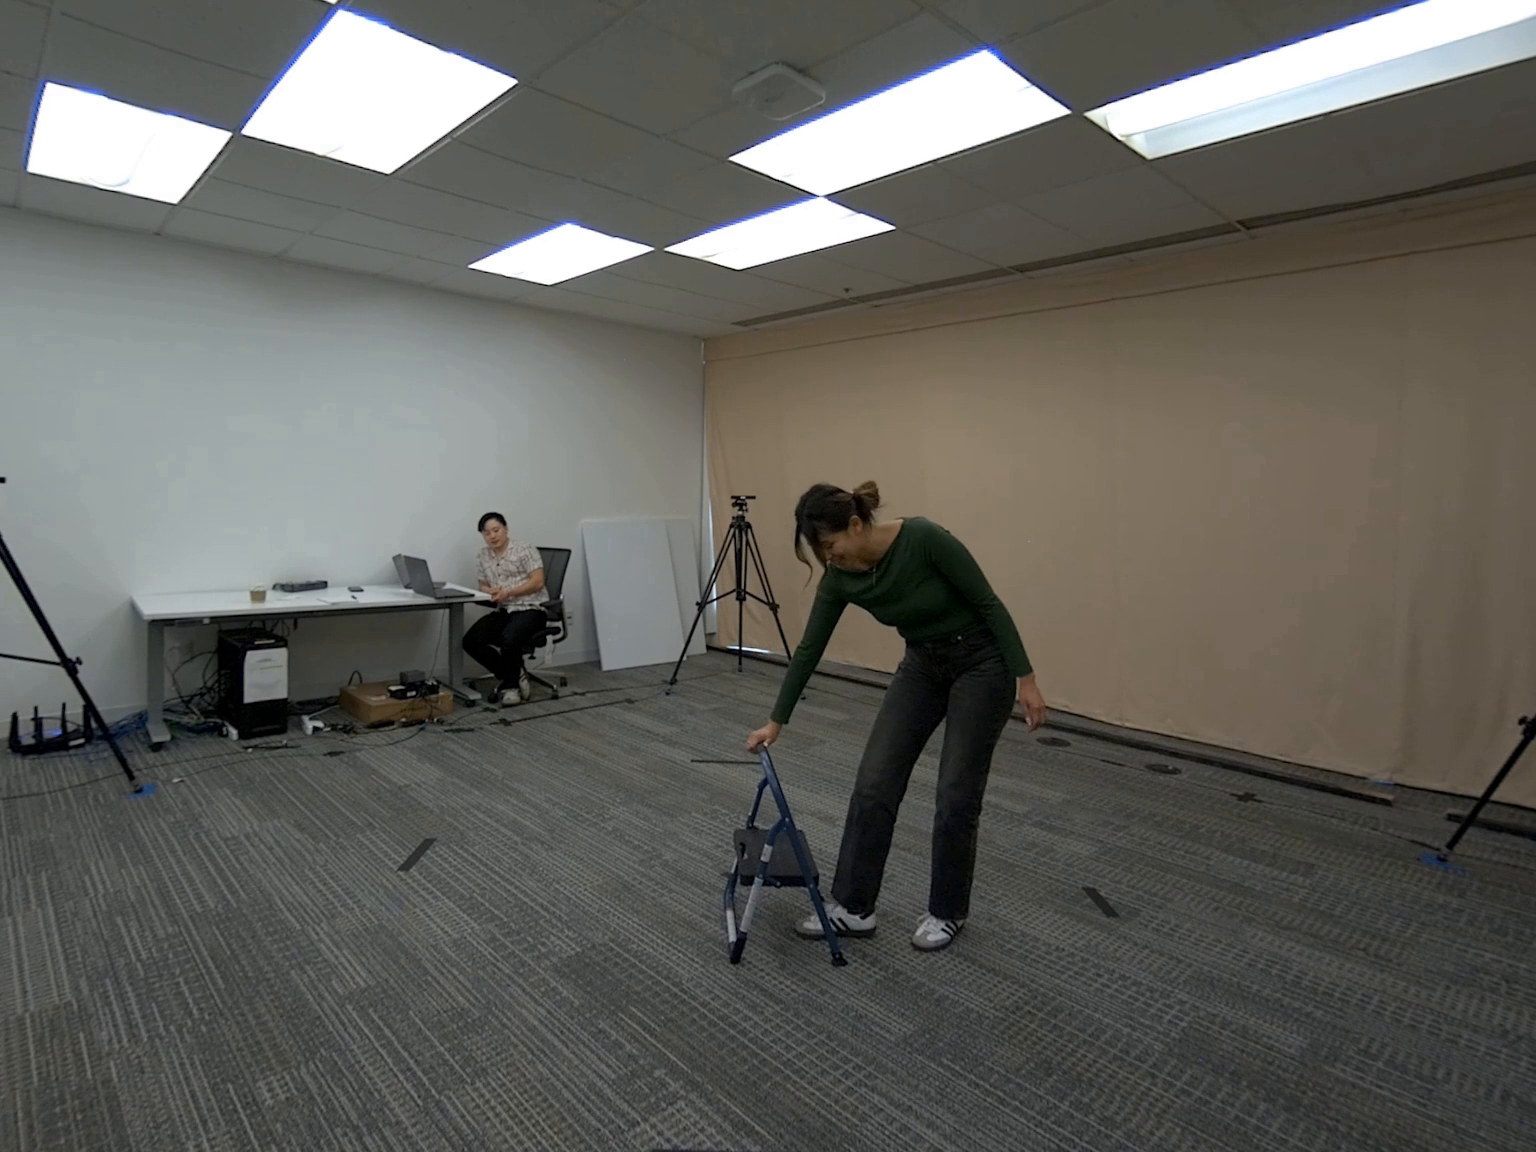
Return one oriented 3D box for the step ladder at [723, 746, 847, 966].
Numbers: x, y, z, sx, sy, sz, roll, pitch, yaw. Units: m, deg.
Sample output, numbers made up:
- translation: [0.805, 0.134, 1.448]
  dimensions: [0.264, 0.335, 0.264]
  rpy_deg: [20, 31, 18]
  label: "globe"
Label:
- translation: [0.036, 0.843, 2.701]
  dimensions: [0.348, 0.604, 0.434]
  rpy_deg: [1, 4, -6]
  label: "step ladder"
